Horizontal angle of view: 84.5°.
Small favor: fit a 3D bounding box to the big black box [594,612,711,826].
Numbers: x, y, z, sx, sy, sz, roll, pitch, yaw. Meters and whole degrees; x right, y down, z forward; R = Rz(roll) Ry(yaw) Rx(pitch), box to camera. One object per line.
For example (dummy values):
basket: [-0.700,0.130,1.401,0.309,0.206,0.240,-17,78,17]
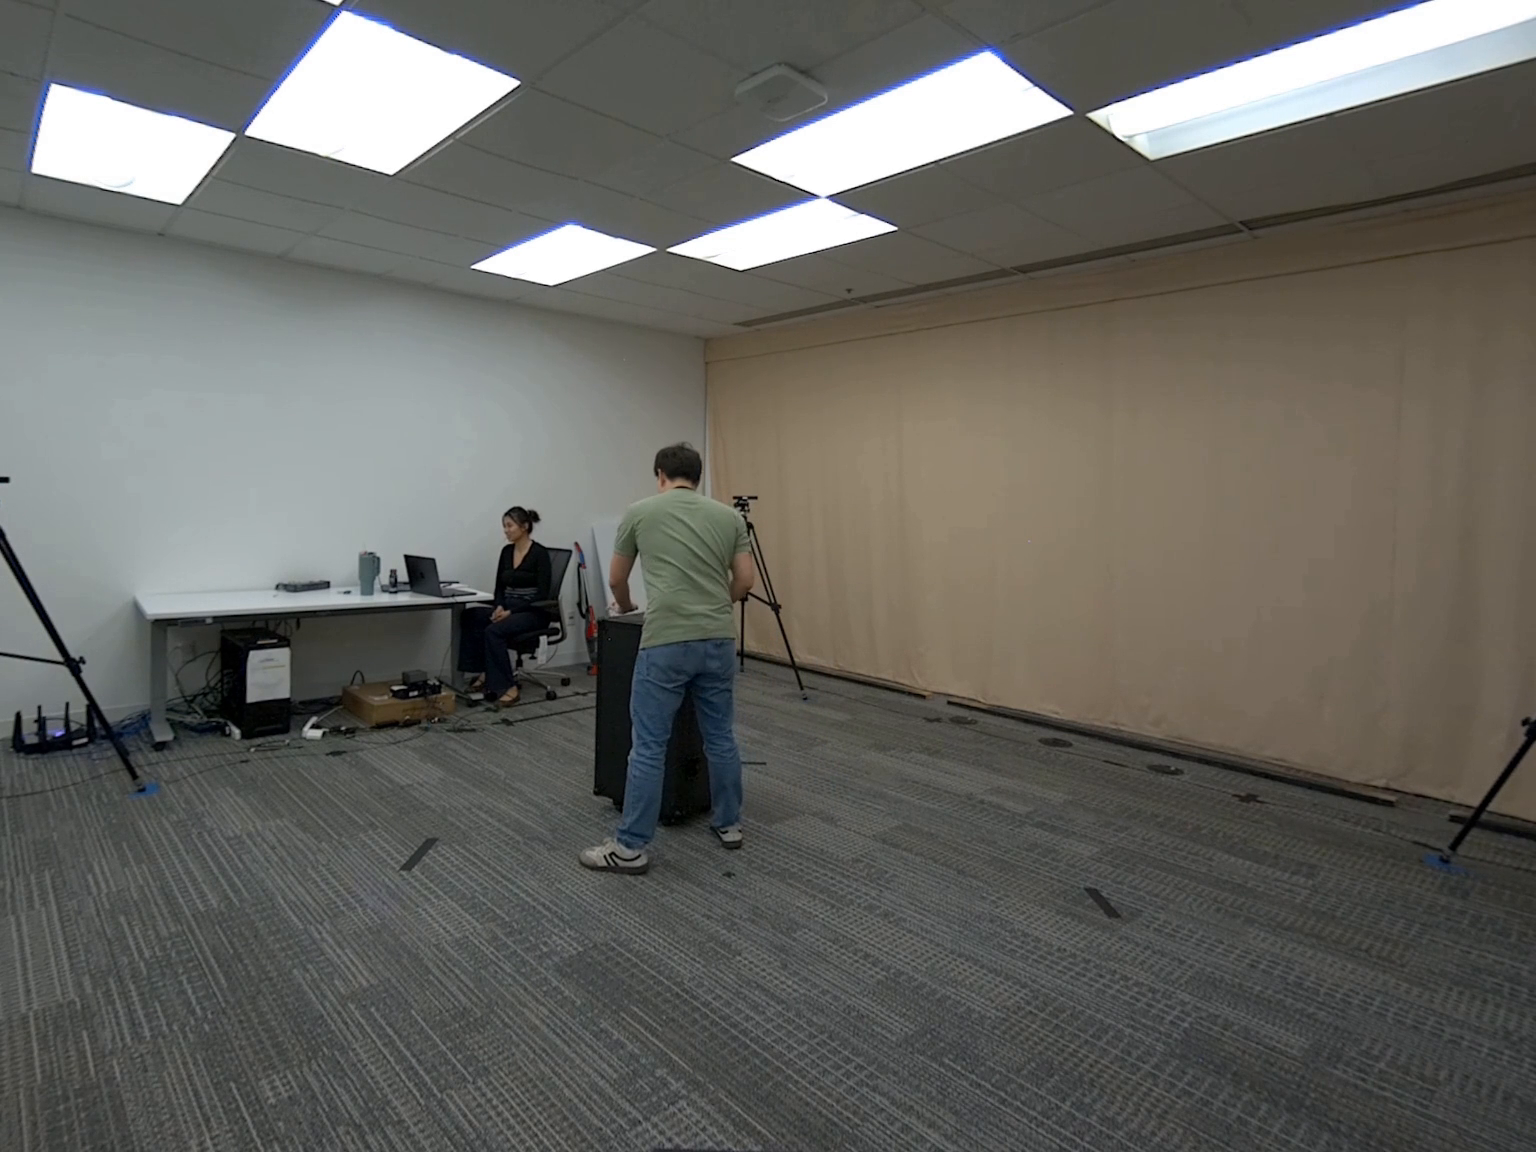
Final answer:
big black box: [-0.471,0.615,3.723,0.533,0.860,0.388,4,3,33]
